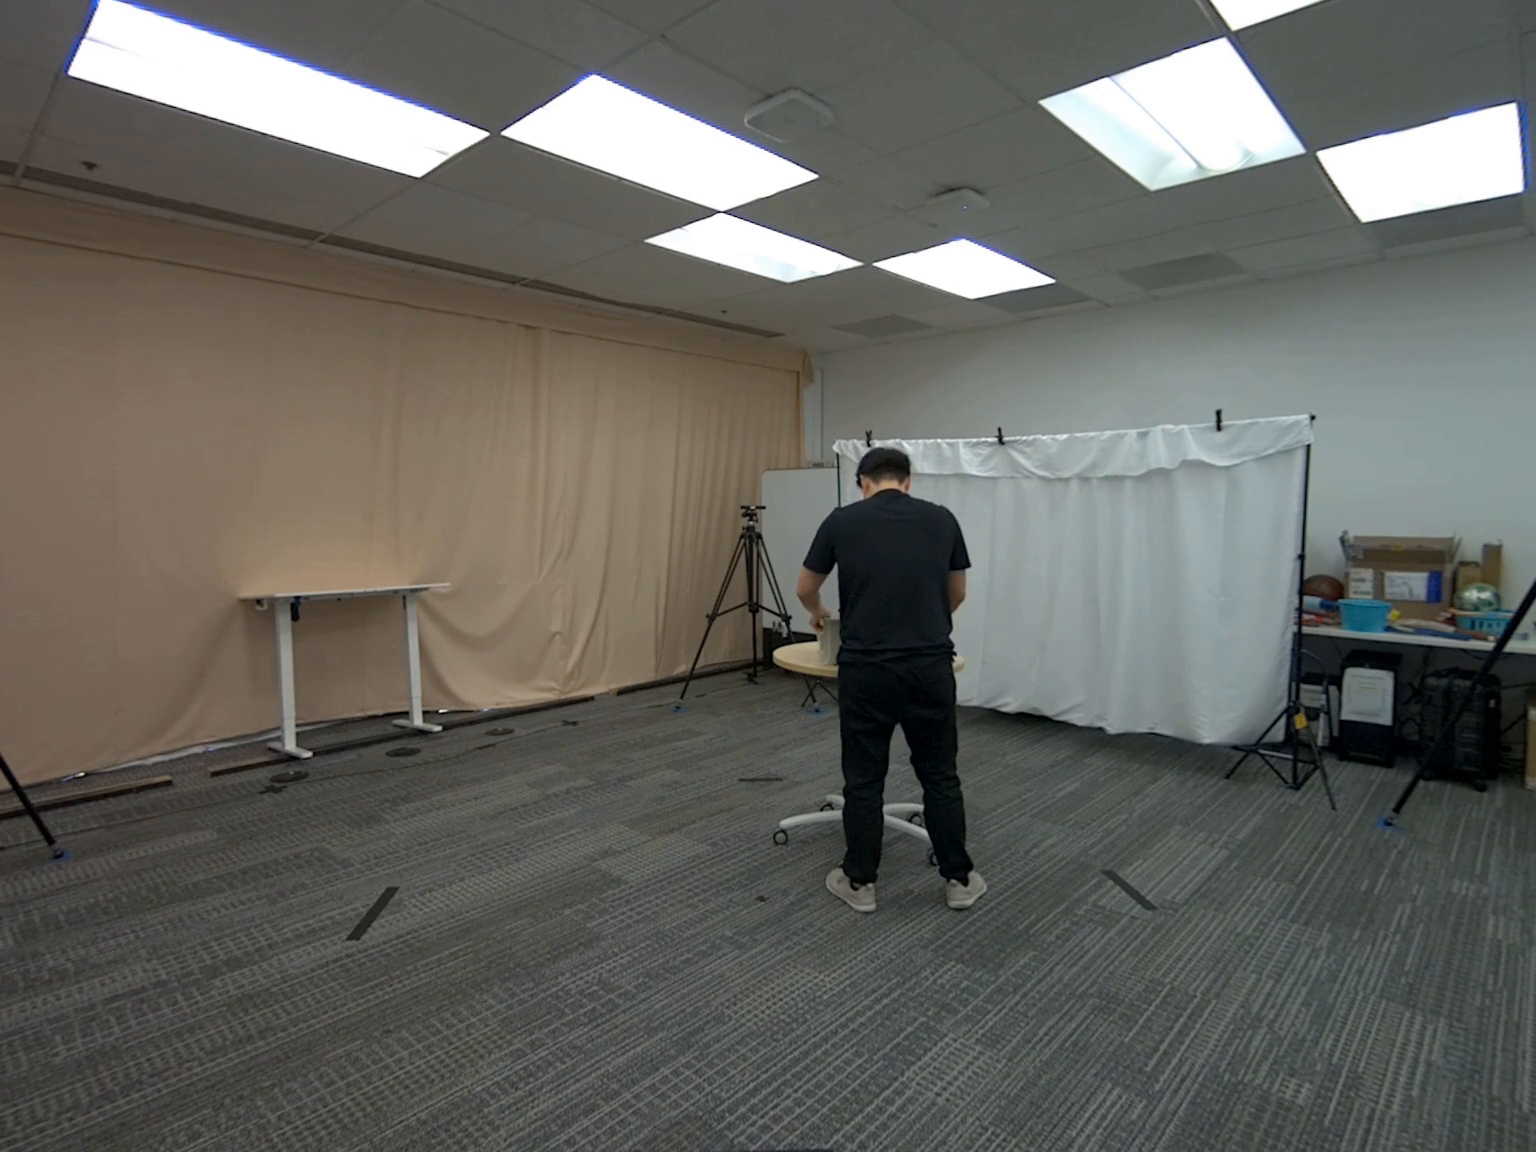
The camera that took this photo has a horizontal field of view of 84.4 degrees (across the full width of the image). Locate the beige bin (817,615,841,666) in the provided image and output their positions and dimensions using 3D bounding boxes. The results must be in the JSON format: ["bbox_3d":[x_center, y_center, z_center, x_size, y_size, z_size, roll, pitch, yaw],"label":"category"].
[{"bbox_3d":[0.428,0.240,3.364,0.422,0.188,0.378,0,5,-1],"label":"beige bin"}]
